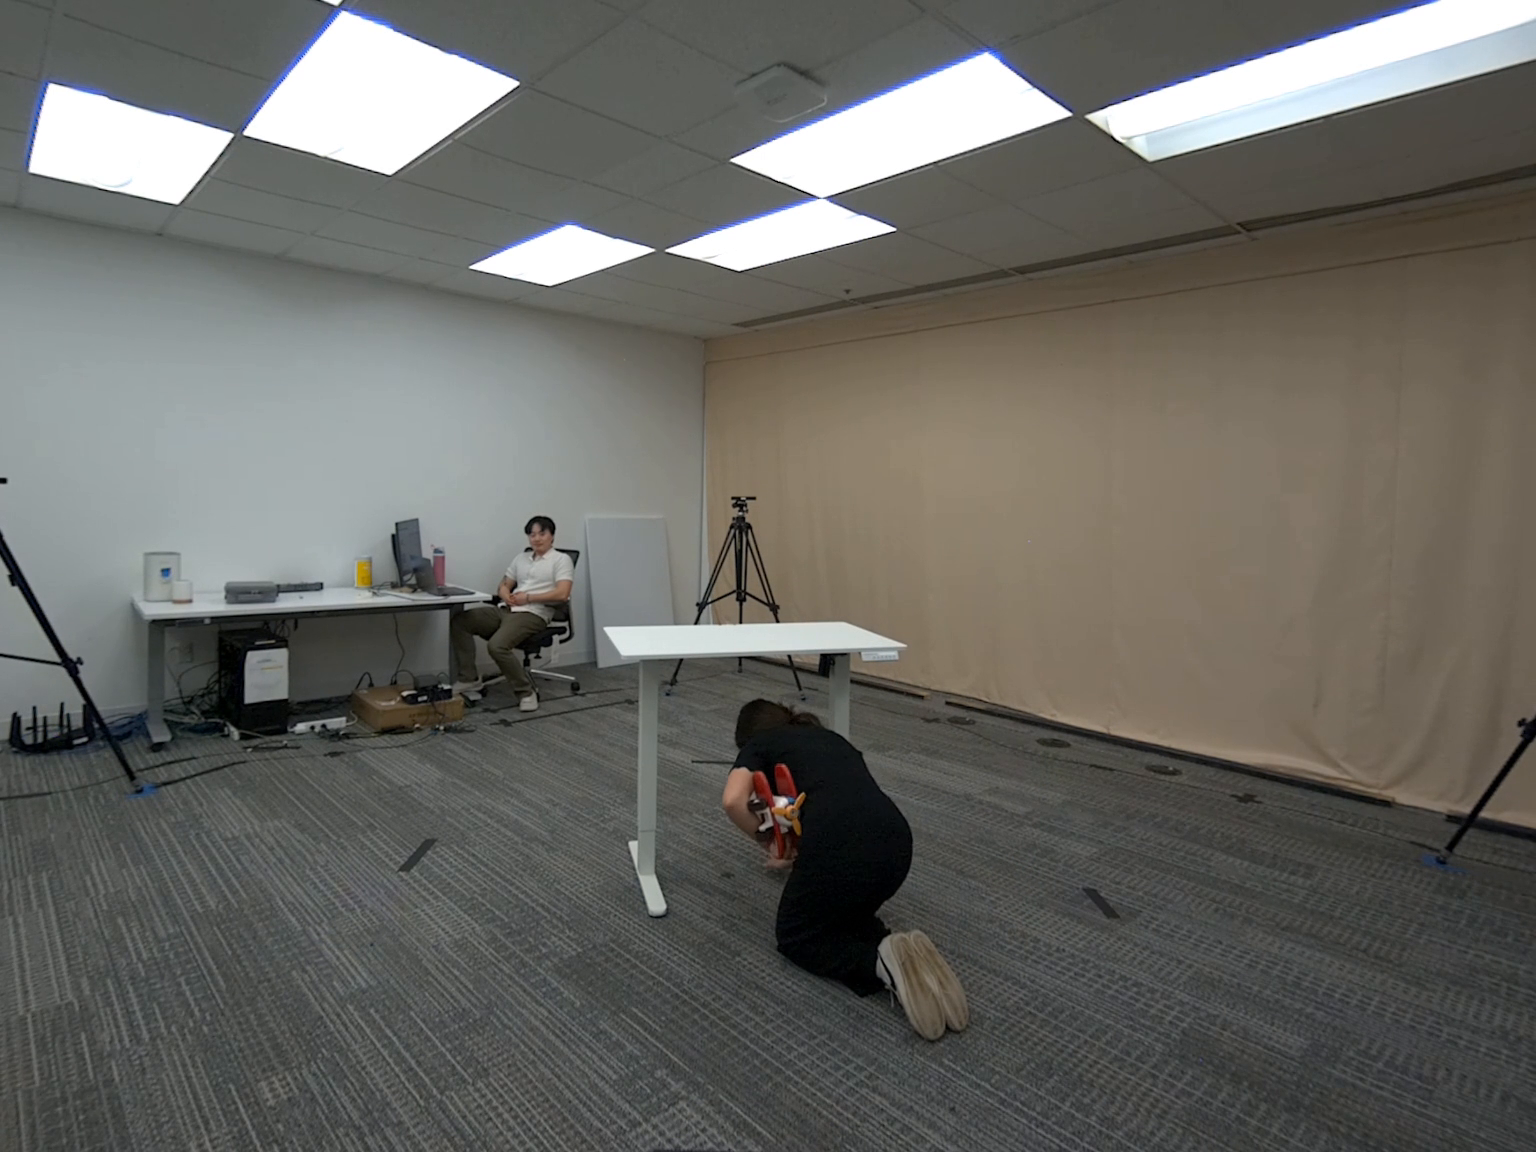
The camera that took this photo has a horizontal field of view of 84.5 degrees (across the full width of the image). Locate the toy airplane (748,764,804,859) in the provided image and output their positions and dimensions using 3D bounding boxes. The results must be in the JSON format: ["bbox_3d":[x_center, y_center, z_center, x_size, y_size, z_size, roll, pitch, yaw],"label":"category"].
[{"bbox_3d":[-0.011,0.684,2.536,0.154,0.247,0.266,-8,23,-18],"label":"toy airplane"}]
